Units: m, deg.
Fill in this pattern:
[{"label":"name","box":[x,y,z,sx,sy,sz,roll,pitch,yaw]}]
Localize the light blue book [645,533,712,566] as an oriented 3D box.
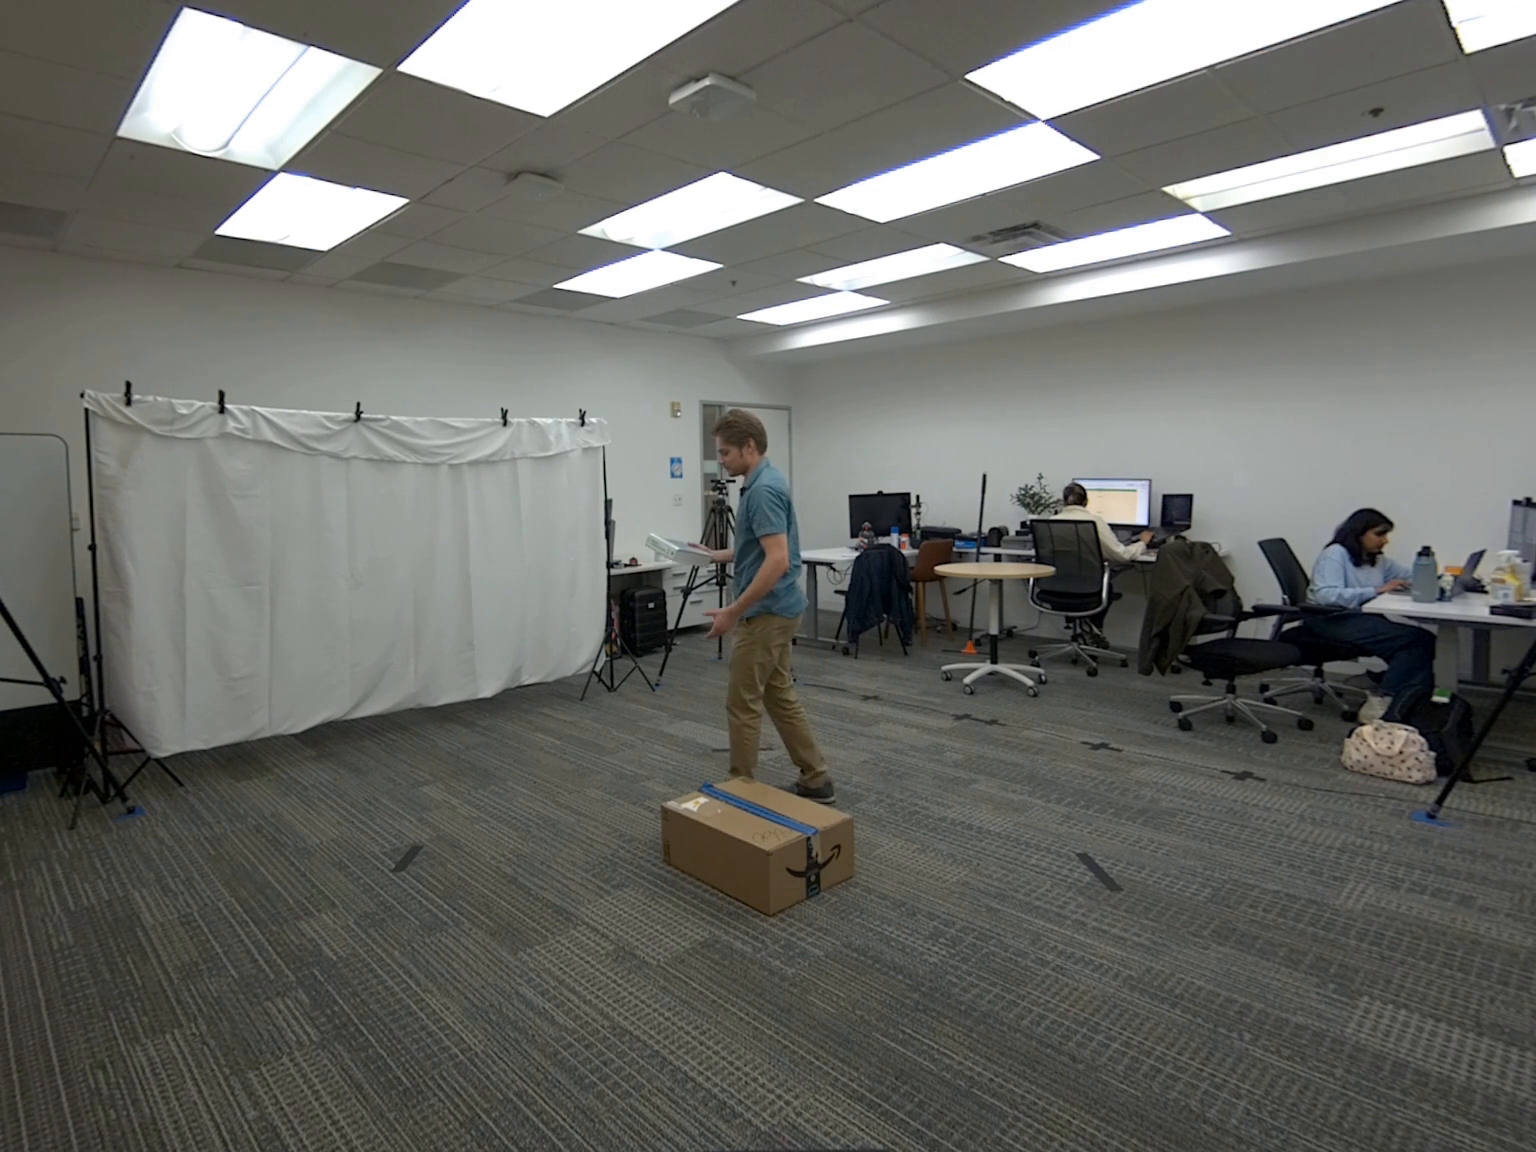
[{"label":"light blue book","box":[-0.386,-0.114,3.689,0.185,0.059,0.270,11,9,-37]}]
